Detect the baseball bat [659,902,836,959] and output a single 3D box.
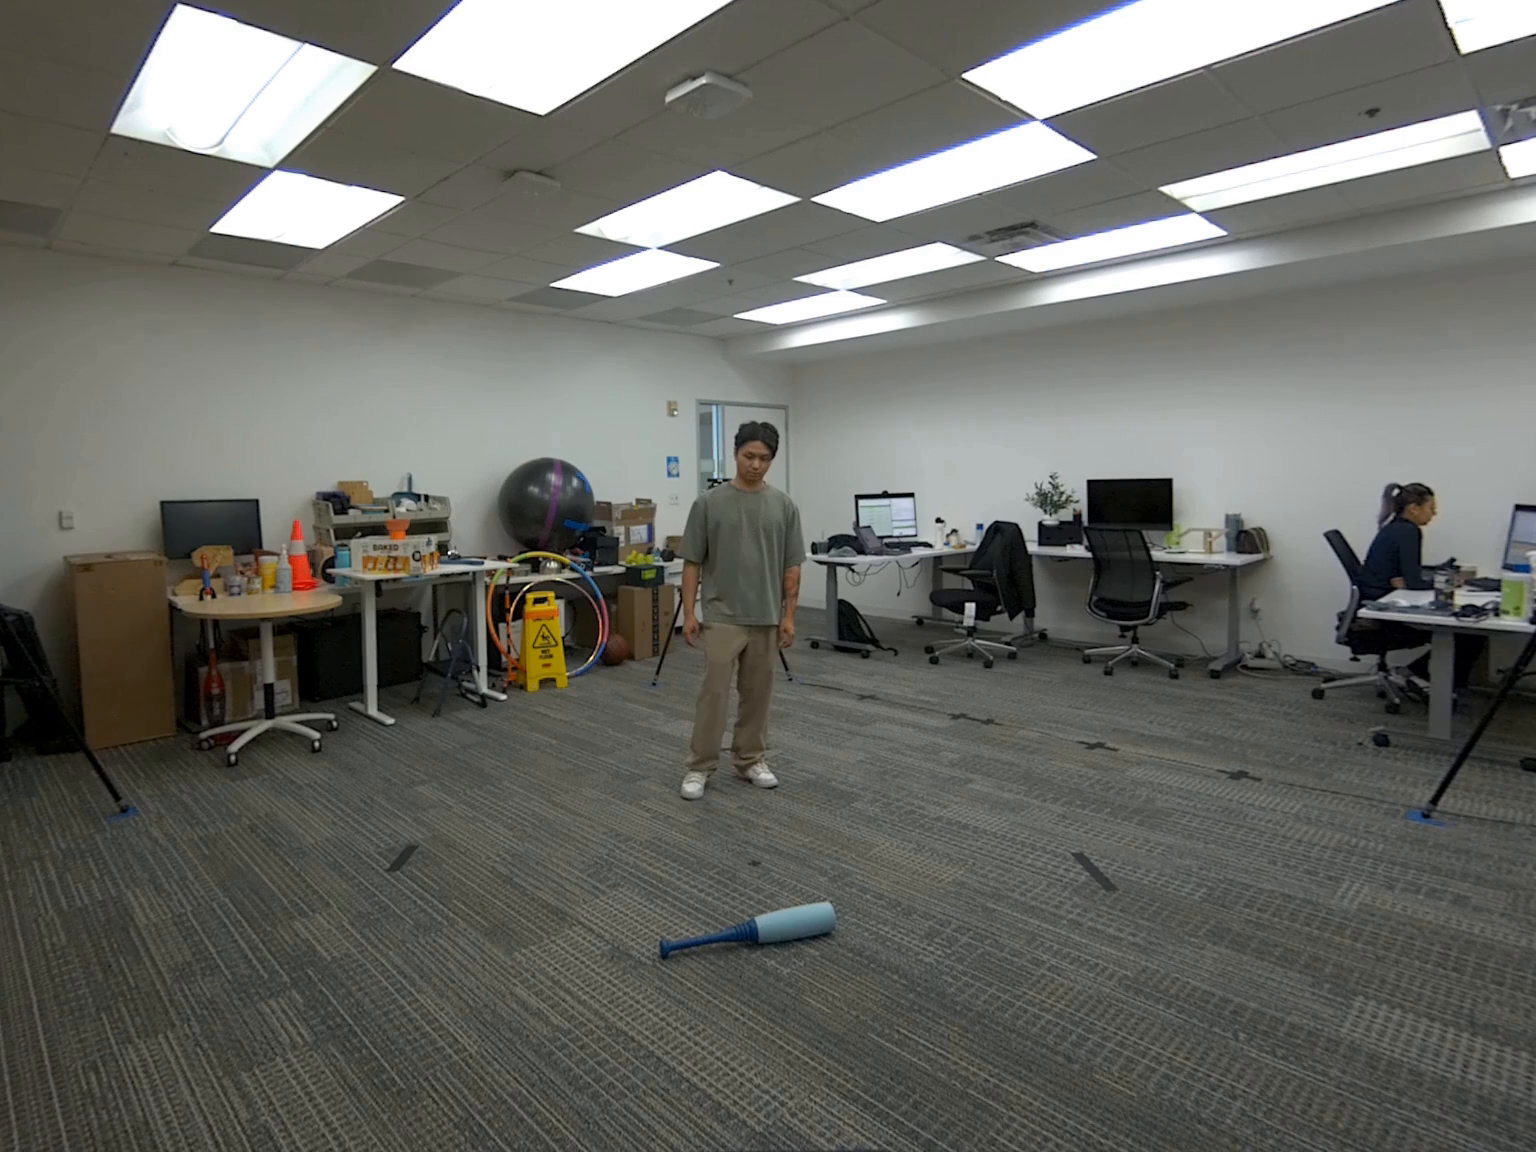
[{"bbox_3d":[-0.054,1.075,2.568,0.536,0.088,0.090,-5,6,-14],"label":"baseball bat"}]
